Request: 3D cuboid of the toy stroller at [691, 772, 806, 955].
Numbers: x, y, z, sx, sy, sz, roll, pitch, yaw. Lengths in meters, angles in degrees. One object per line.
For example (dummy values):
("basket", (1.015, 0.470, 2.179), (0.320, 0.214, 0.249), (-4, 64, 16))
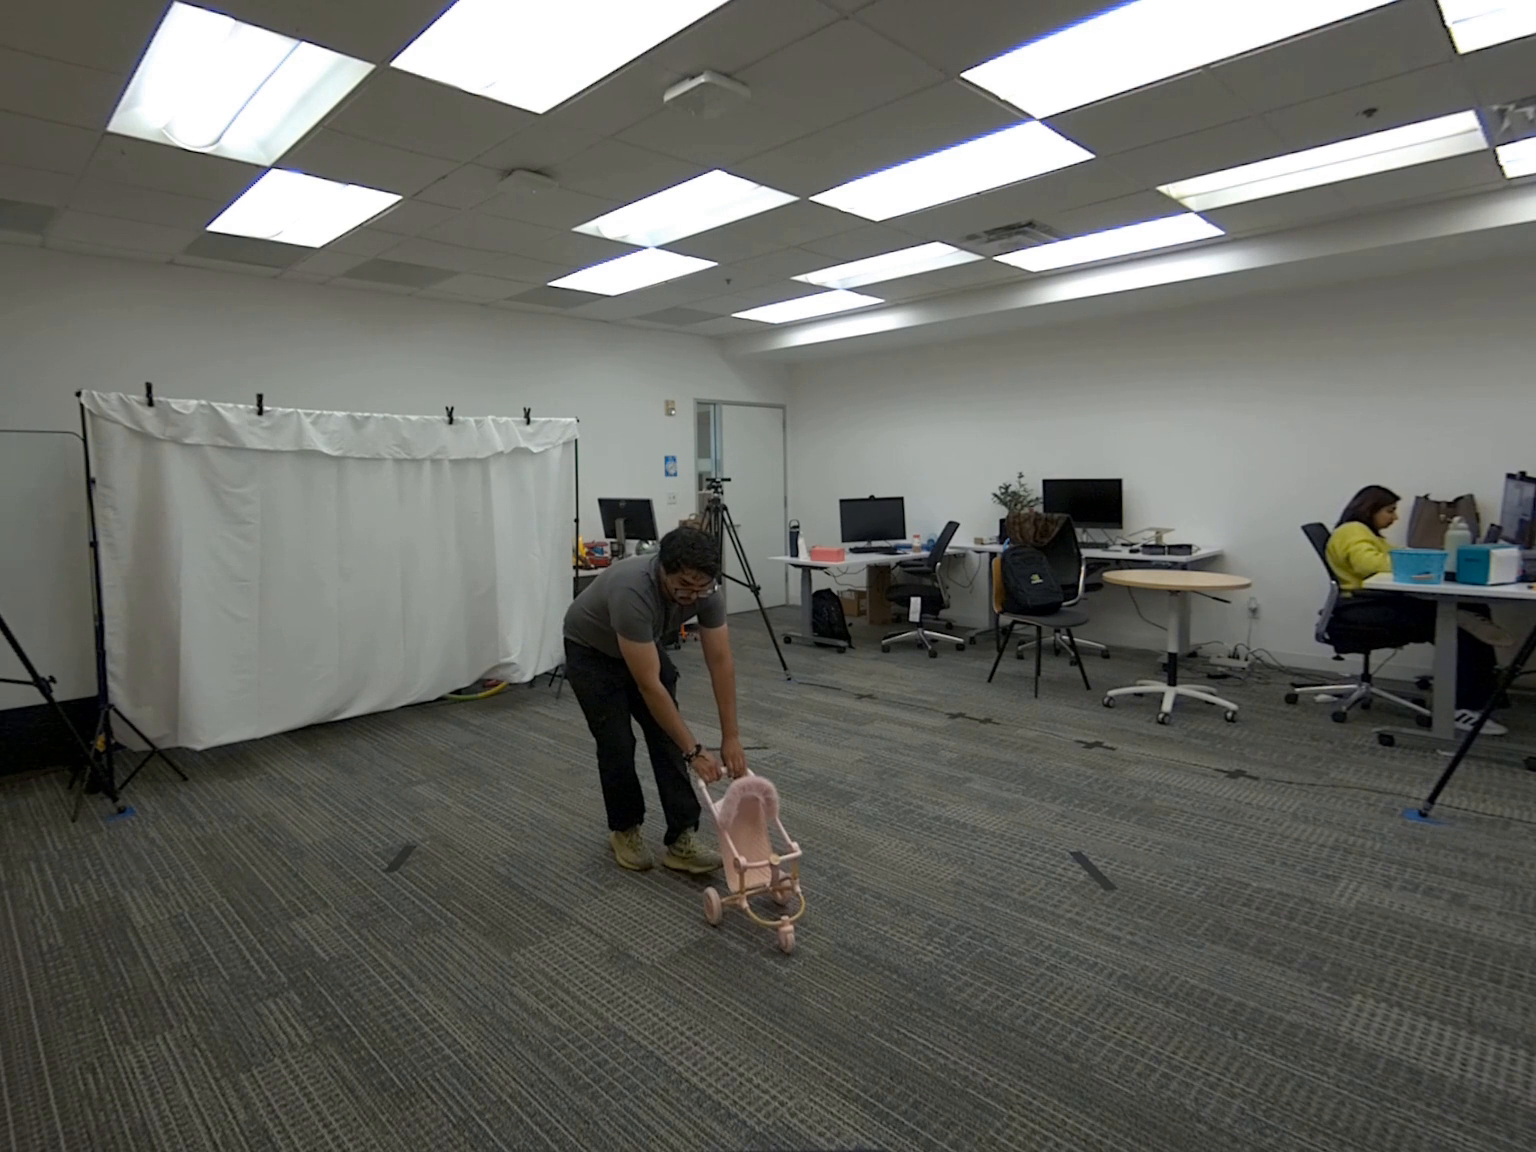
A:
("toy stroller", (-0.042, 0.865, 2.682), (0.276, 0.541, 0.344), (-3, -12, -25))
